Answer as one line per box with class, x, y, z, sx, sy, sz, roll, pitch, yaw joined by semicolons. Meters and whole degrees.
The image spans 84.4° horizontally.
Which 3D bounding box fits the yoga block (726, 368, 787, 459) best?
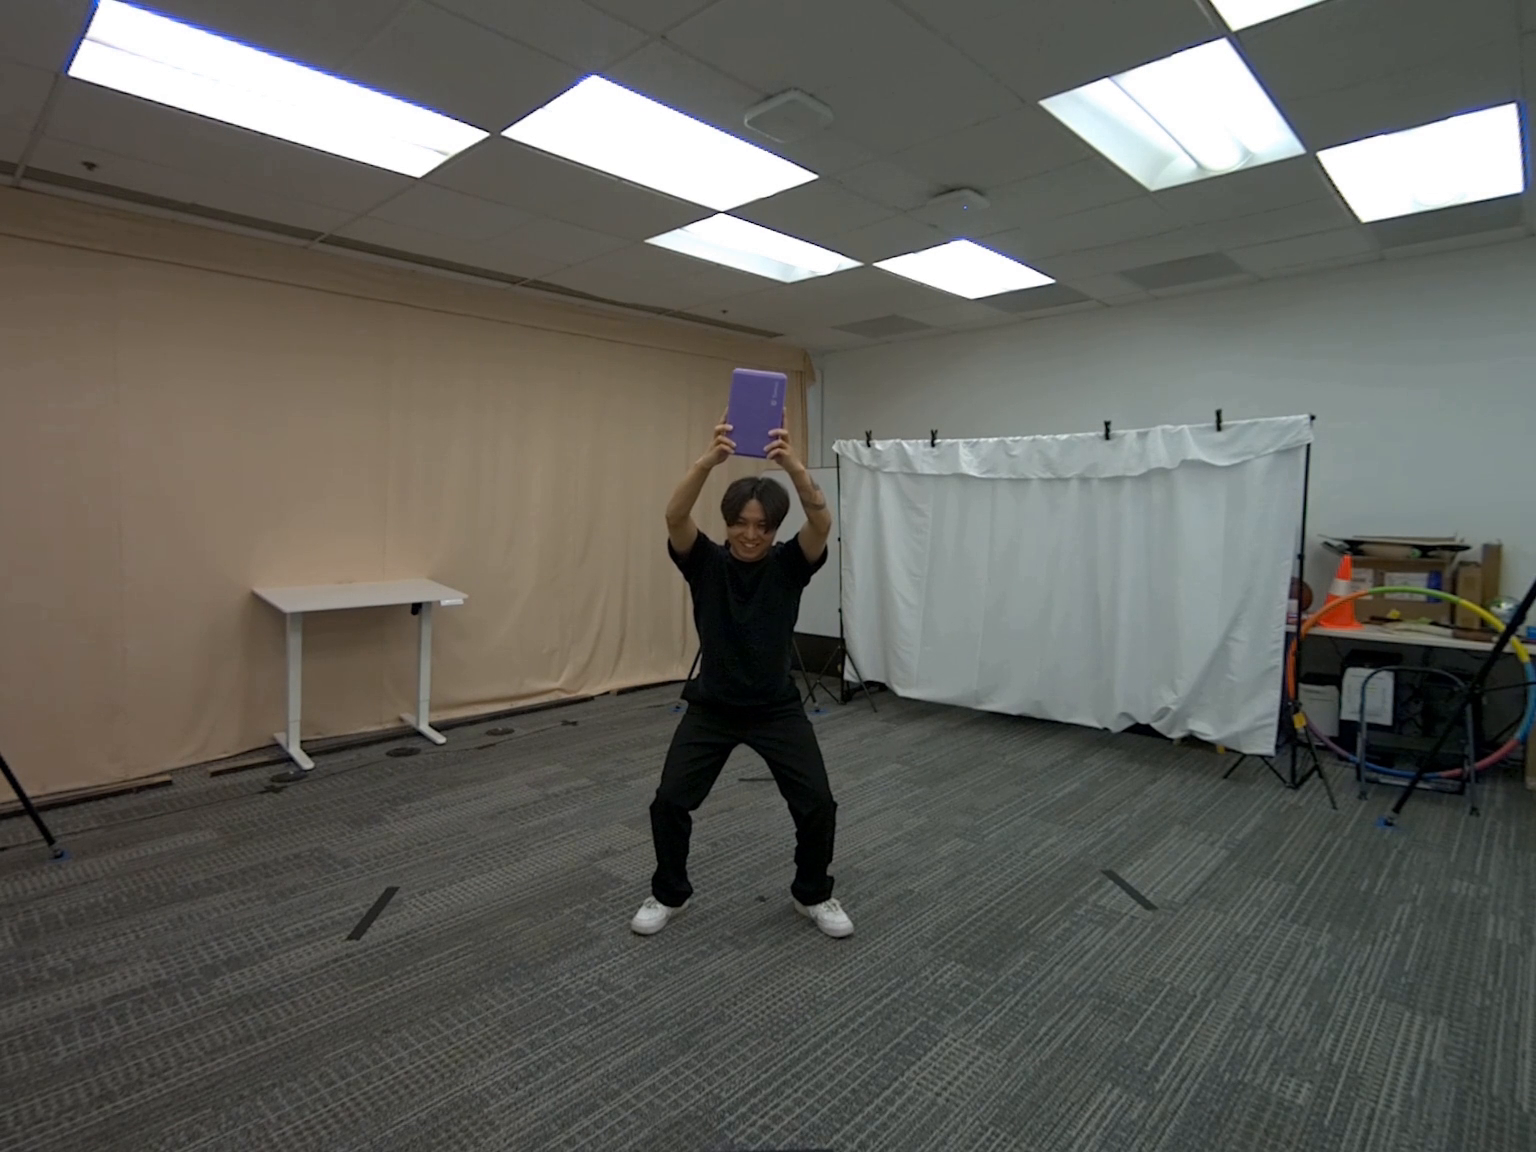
yoga block;-0.030;-0.444;2.296;0.150;0.227;0.076;9;16;6
